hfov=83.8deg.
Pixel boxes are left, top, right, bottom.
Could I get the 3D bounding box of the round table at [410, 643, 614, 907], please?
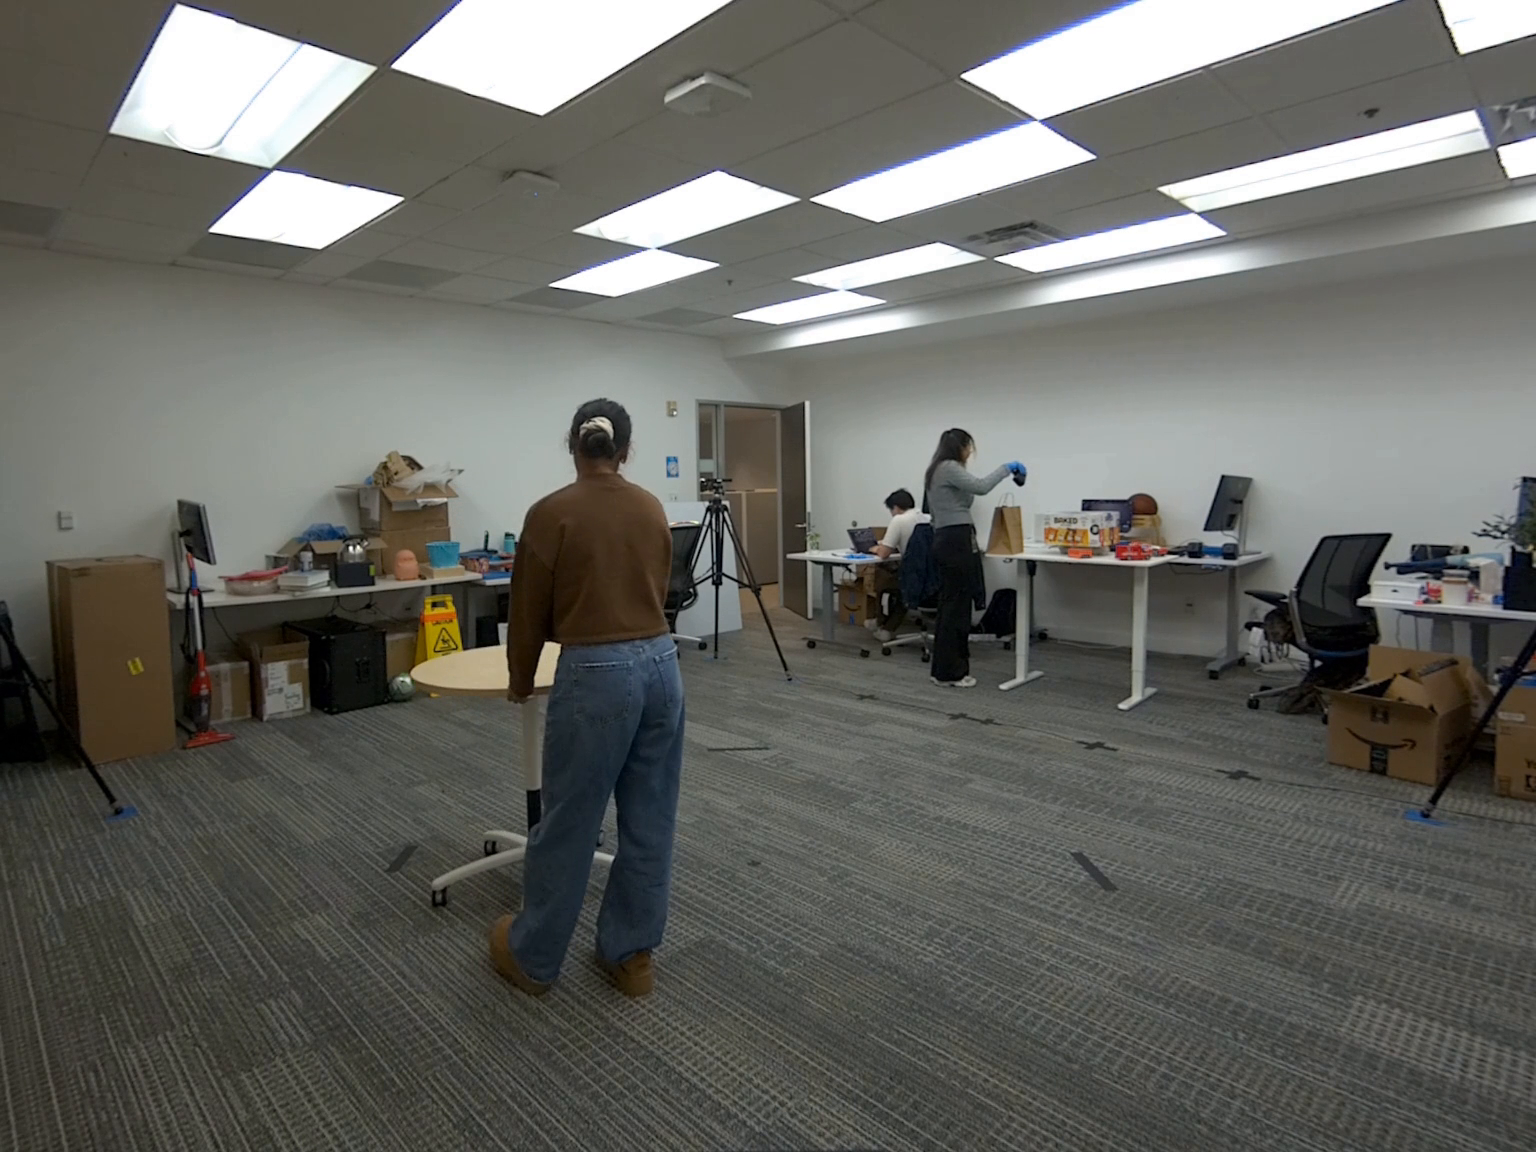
[{"bbox_3d":[-0.803,0.686,2.956,0.763,0.791,0.768,-2,5,-2],"label":"round table"}]
